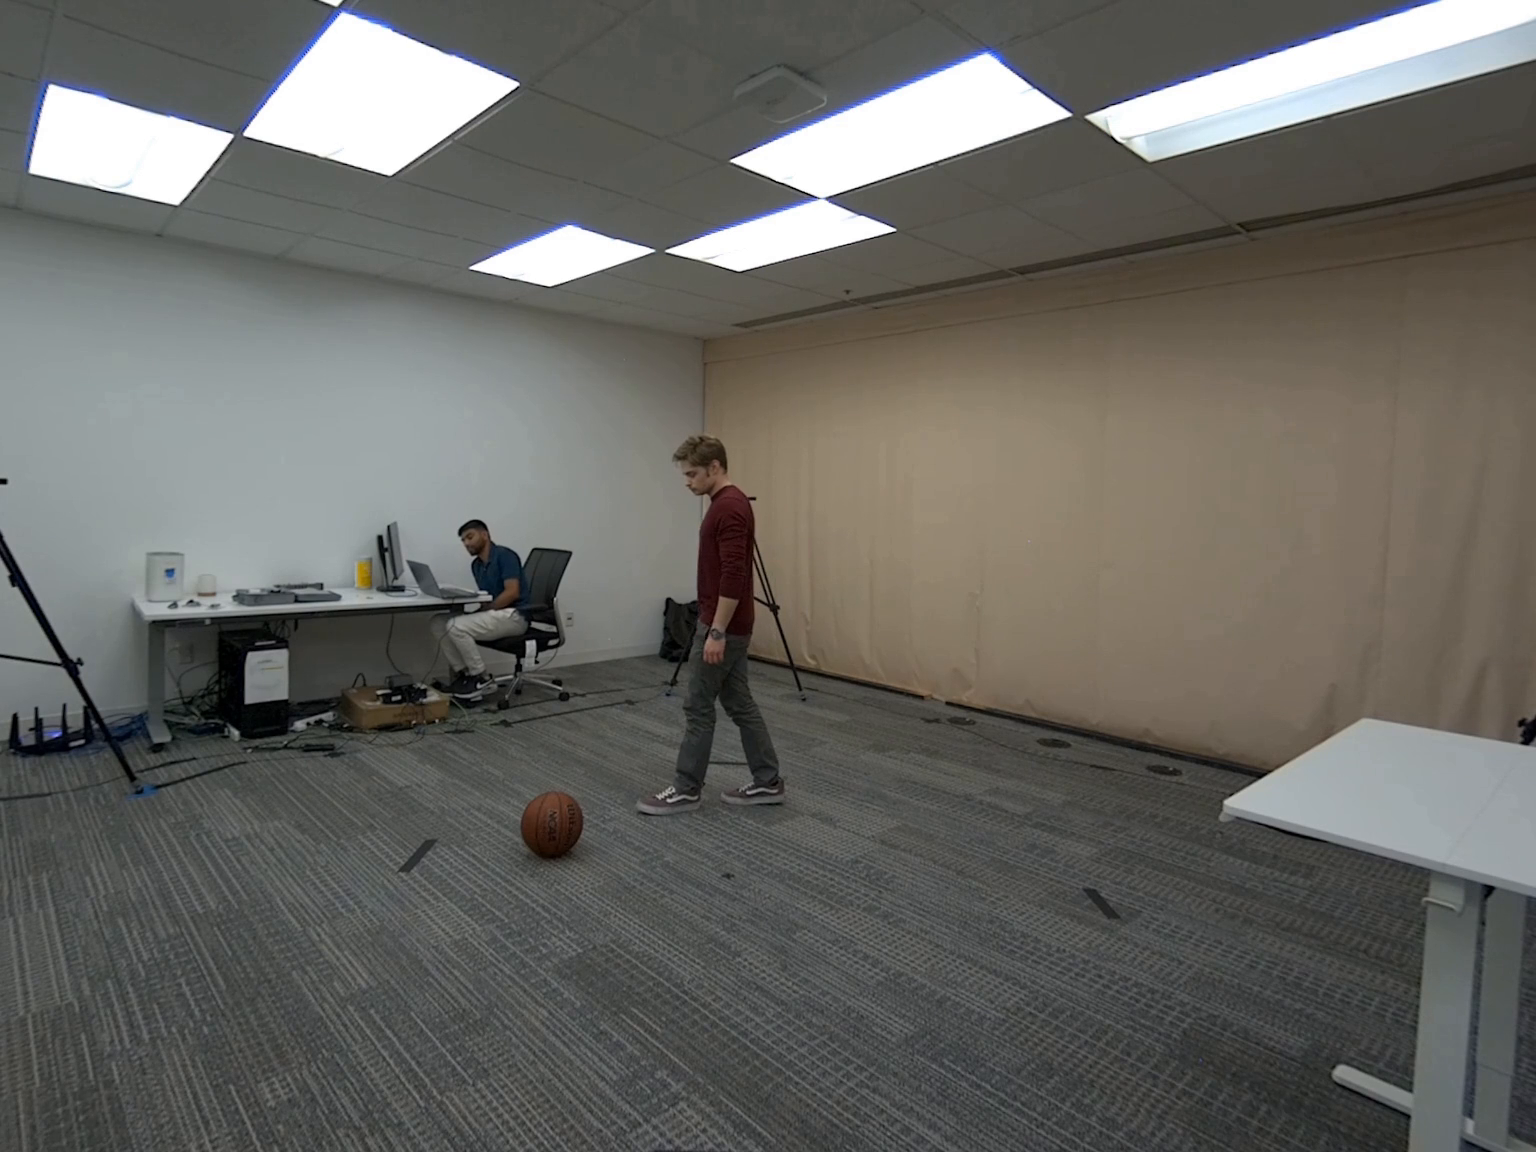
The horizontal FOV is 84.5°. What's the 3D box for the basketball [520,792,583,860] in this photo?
[{"bbox_3d":[-0.841,0.955,3.254,0.236,0.235,0.237,1,4,-1],"label":"basketball"}]
